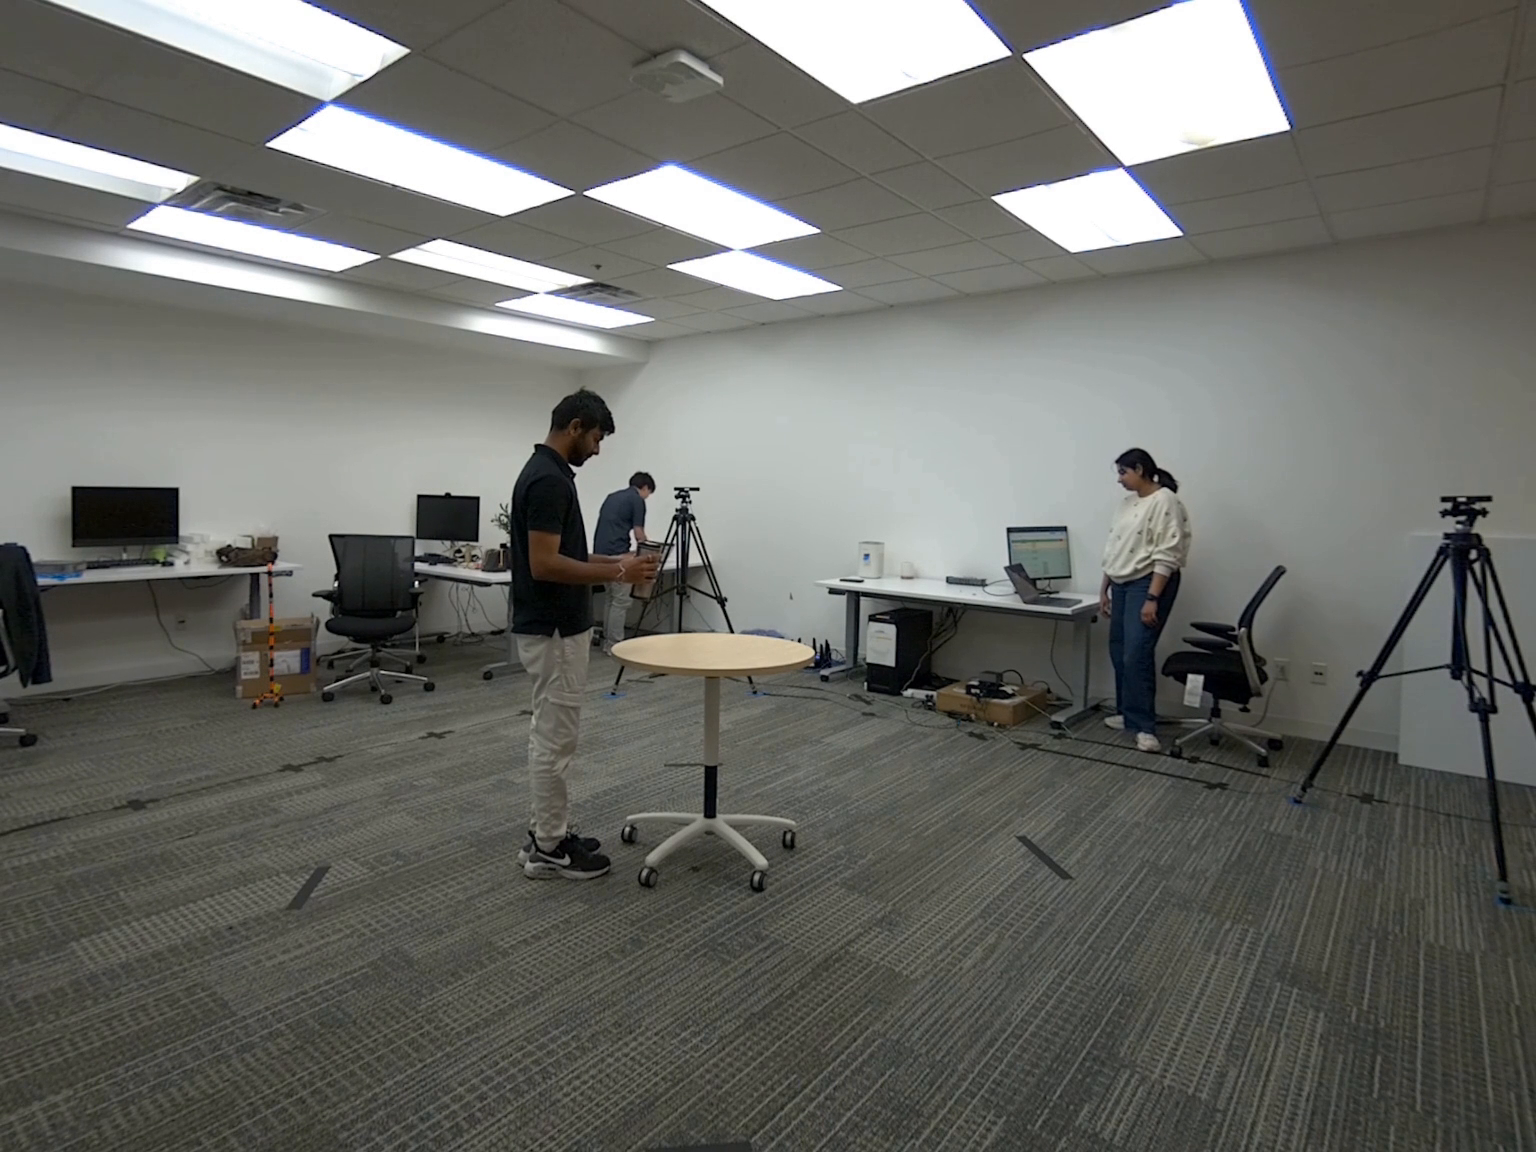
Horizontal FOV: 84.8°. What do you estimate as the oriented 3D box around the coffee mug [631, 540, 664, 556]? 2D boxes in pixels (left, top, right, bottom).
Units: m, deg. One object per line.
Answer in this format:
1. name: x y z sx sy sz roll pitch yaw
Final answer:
1. coffee mug: -0.436 -0.020 2.995 0.090 0.202 0.120 8 4 18
